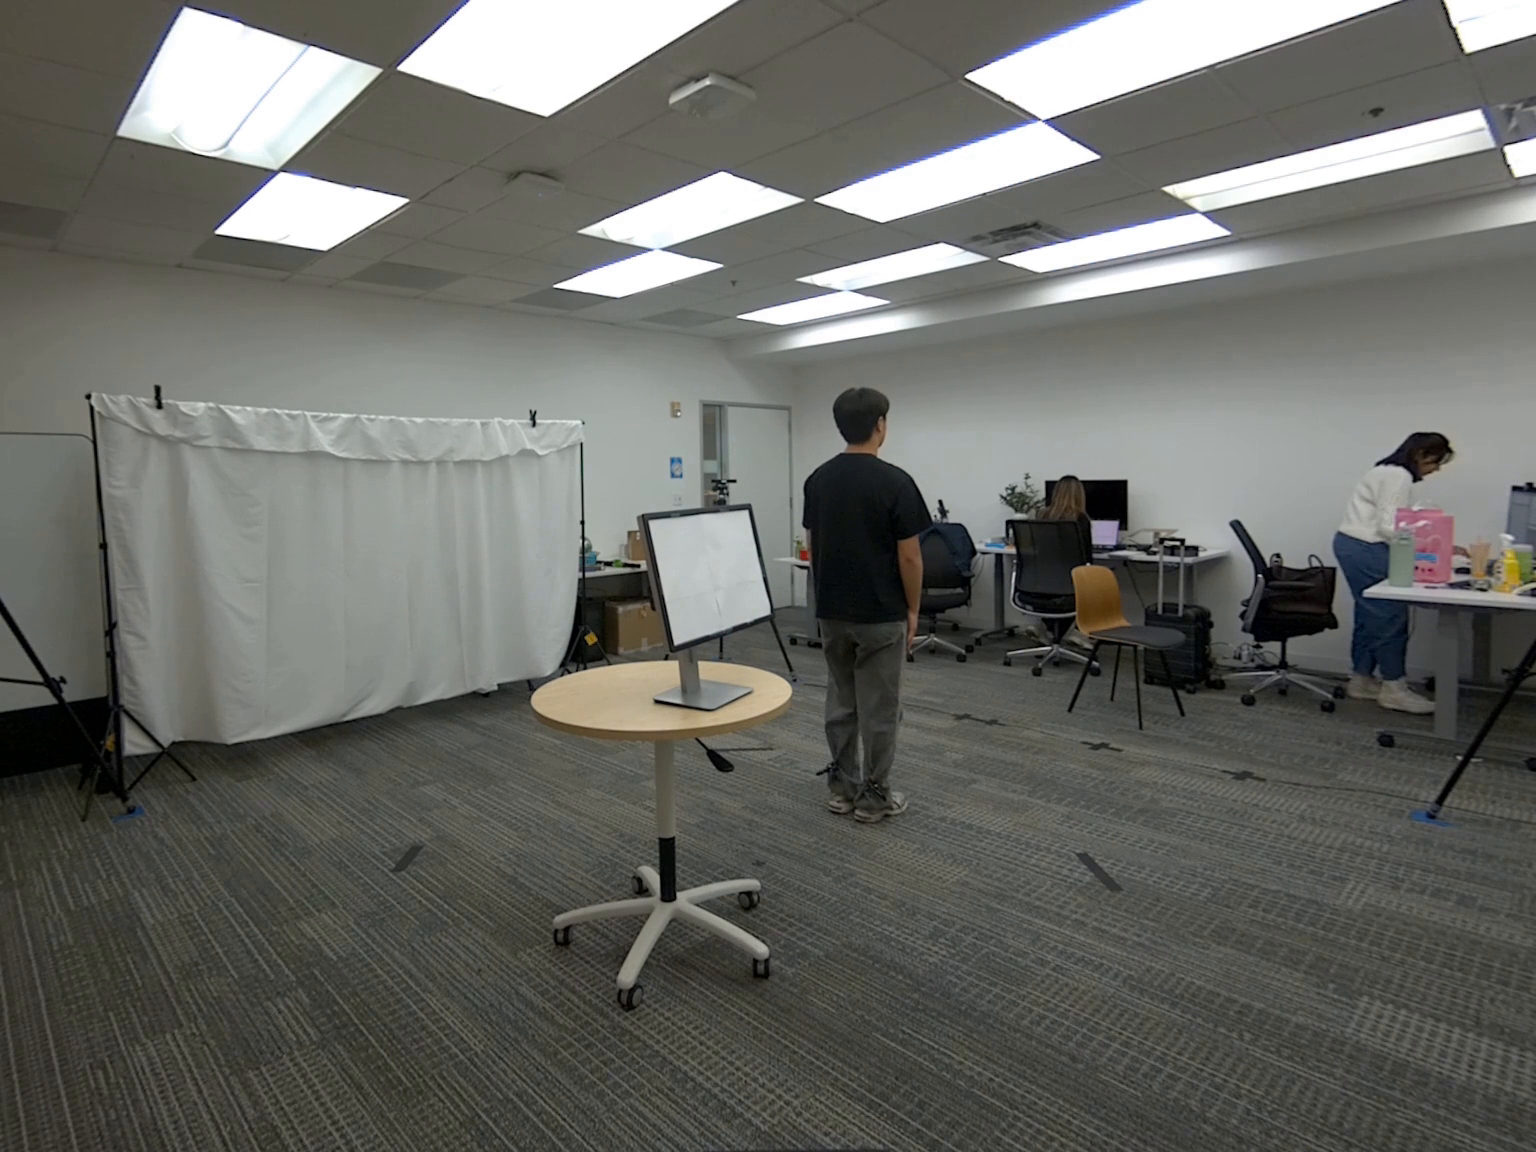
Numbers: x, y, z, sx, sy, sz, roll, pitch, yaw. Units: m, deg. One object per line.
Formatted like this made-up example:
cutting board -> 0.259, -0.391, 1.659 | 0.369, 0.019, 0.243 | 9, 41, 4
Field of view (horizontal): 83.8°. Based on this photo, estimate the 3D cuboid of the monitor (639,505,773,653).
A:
monitor -> -0.178, 0.090, 2.423 | 0.228, 0.563, 0.549 | 5, 8, 31
